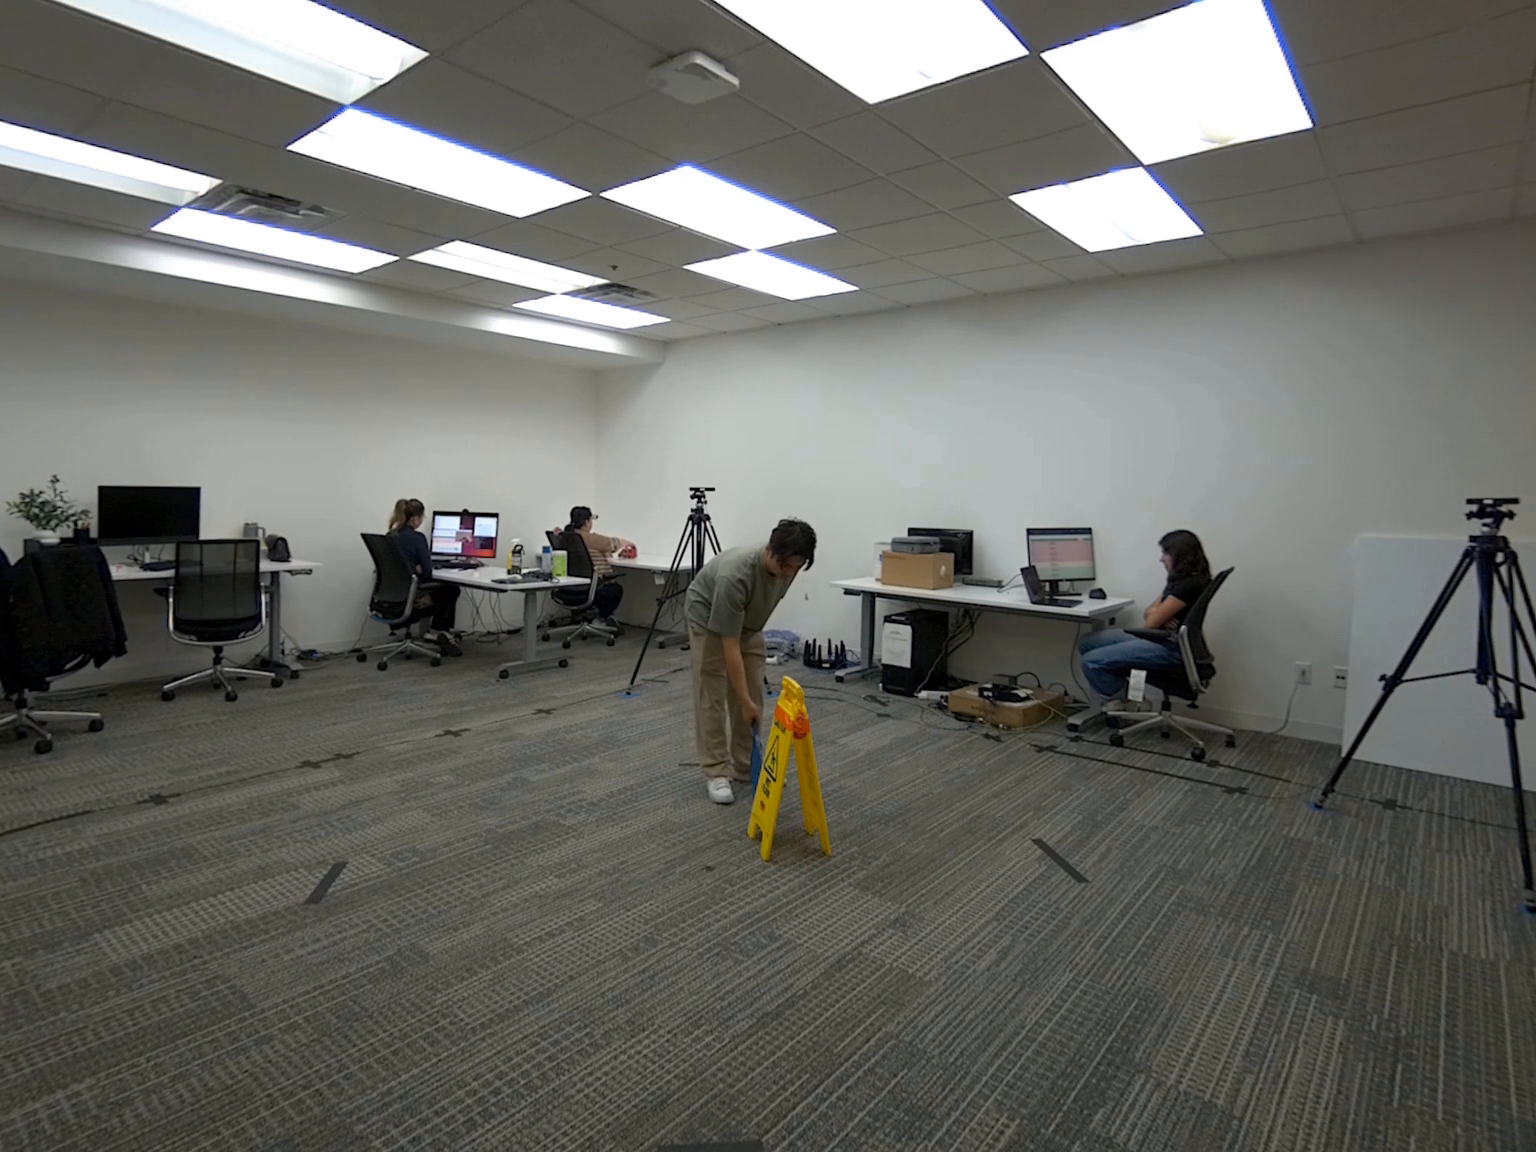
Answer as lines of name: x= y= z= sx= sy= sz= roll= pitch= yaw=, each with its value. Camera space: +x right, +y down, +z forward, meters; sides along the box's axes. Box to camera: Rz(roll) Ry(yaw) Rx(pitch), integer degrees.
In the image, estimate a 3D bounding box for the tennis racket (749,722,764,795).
tennis racket: x=-0.045 y=0.768 z=3.633 sx=0.031 sy=0.439 sz=0.213 roll=0 pitch=-14 yaw=-13
